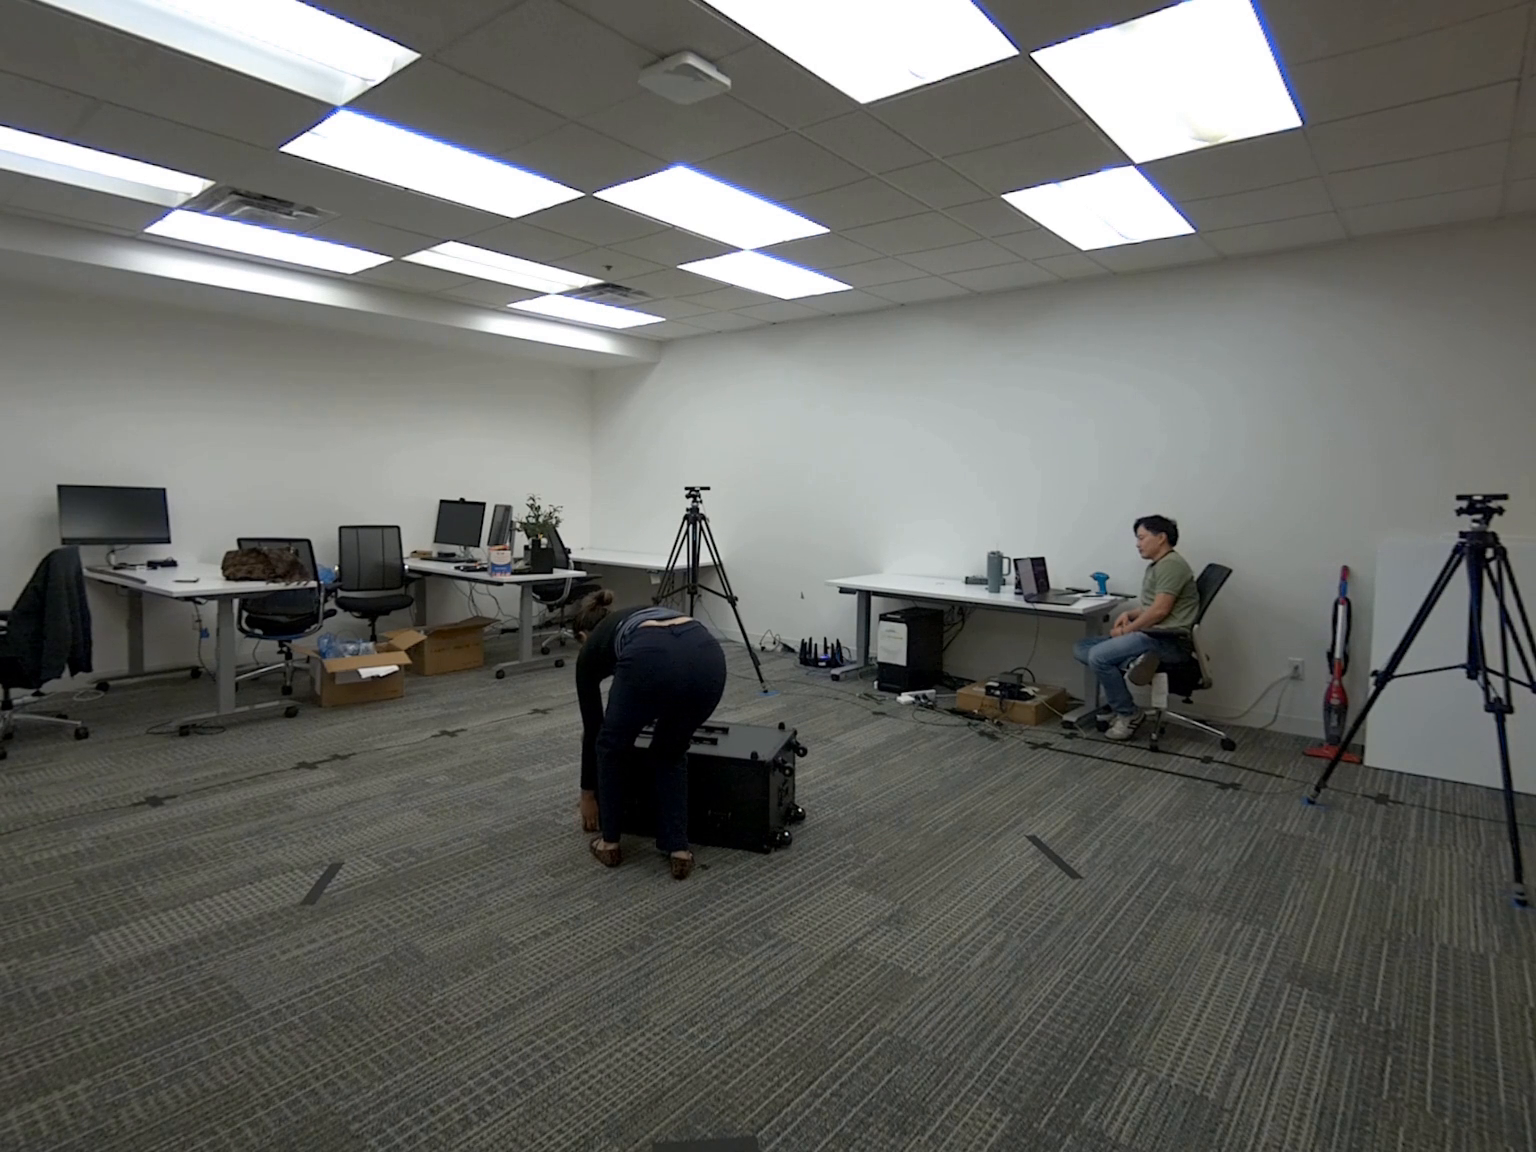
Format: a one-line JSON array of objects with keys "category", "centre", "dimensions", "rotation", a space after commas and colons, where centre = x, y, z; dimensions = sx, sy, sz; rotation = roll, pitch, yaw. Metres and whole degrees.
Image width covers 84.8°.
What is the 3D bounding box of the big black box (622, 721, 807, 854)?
[{"category": "big black box", "centre": [-0.282, 0.820, 3.553], "dimensions": [0.877, 0.395, 0.514], "rotation": [3, 5, 16]}]
